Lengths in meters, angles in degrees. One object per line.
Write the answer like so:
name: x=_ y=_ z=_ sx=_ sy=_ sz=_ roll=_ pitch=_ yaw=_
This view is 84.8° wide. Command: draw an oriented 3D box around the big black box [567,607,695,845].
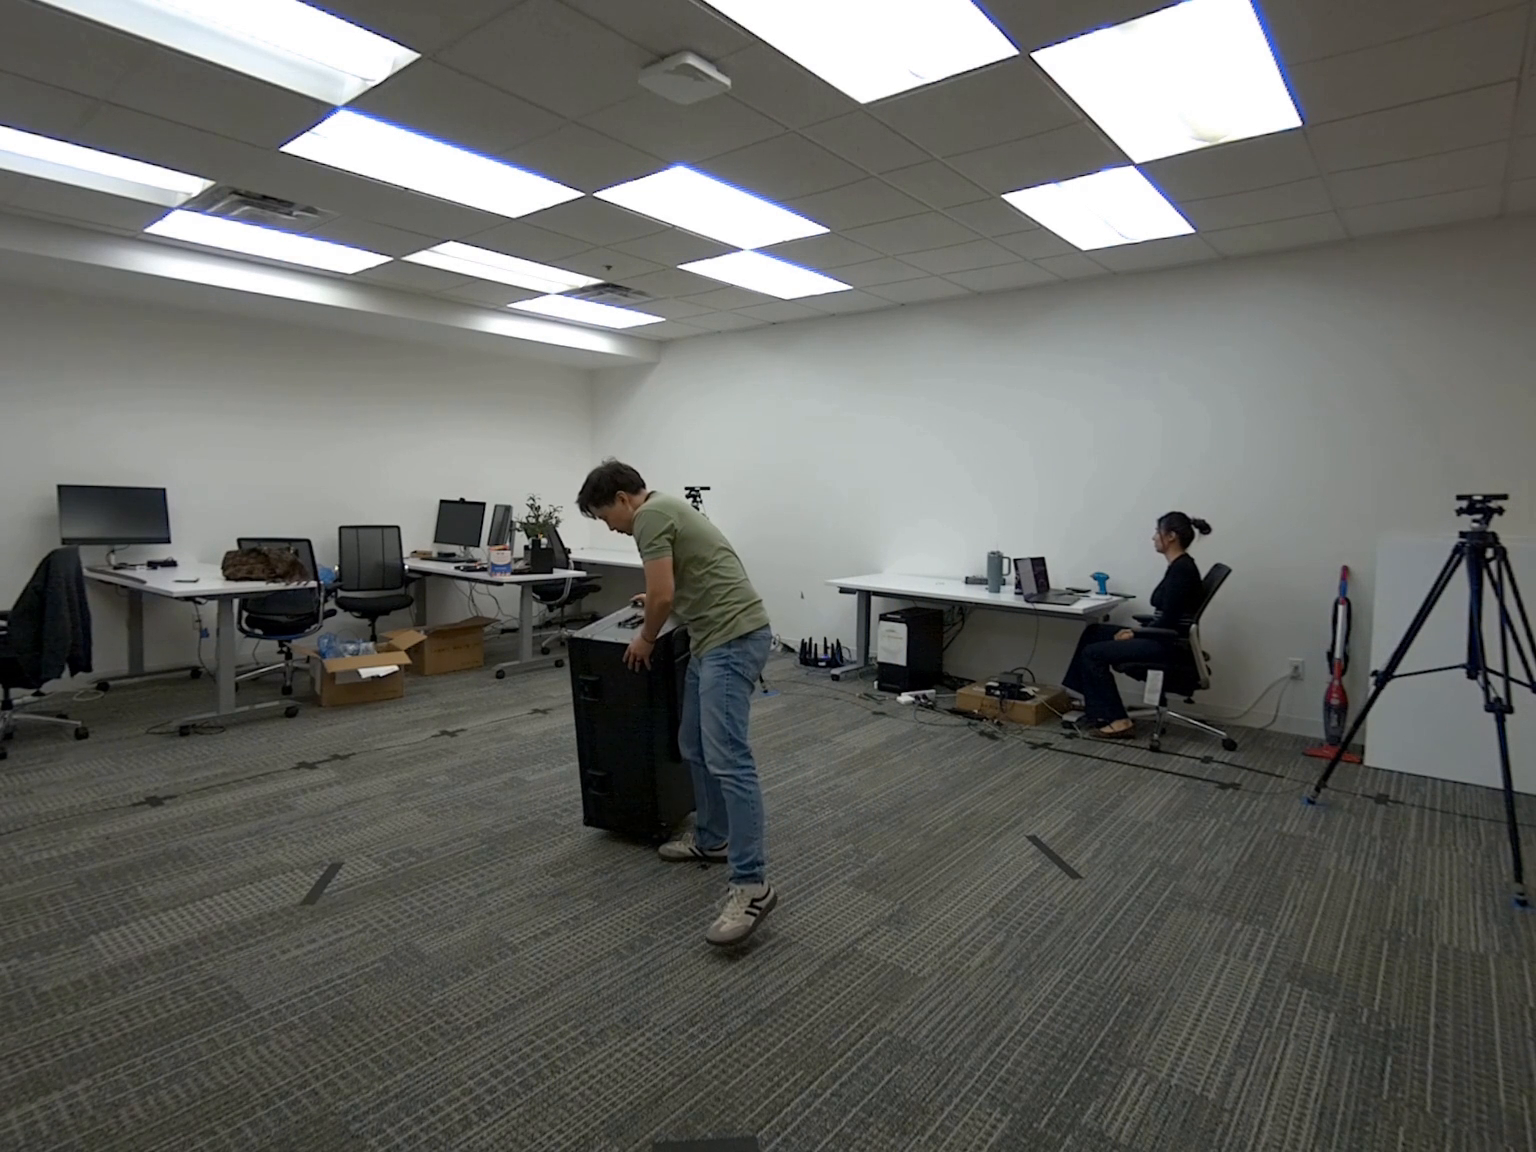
big black box: x=-0.489 y=0.590 z=3.415 sx=0.407 sy=0.851 sz=0.513 roll=4 pitch=14 yaw=26
